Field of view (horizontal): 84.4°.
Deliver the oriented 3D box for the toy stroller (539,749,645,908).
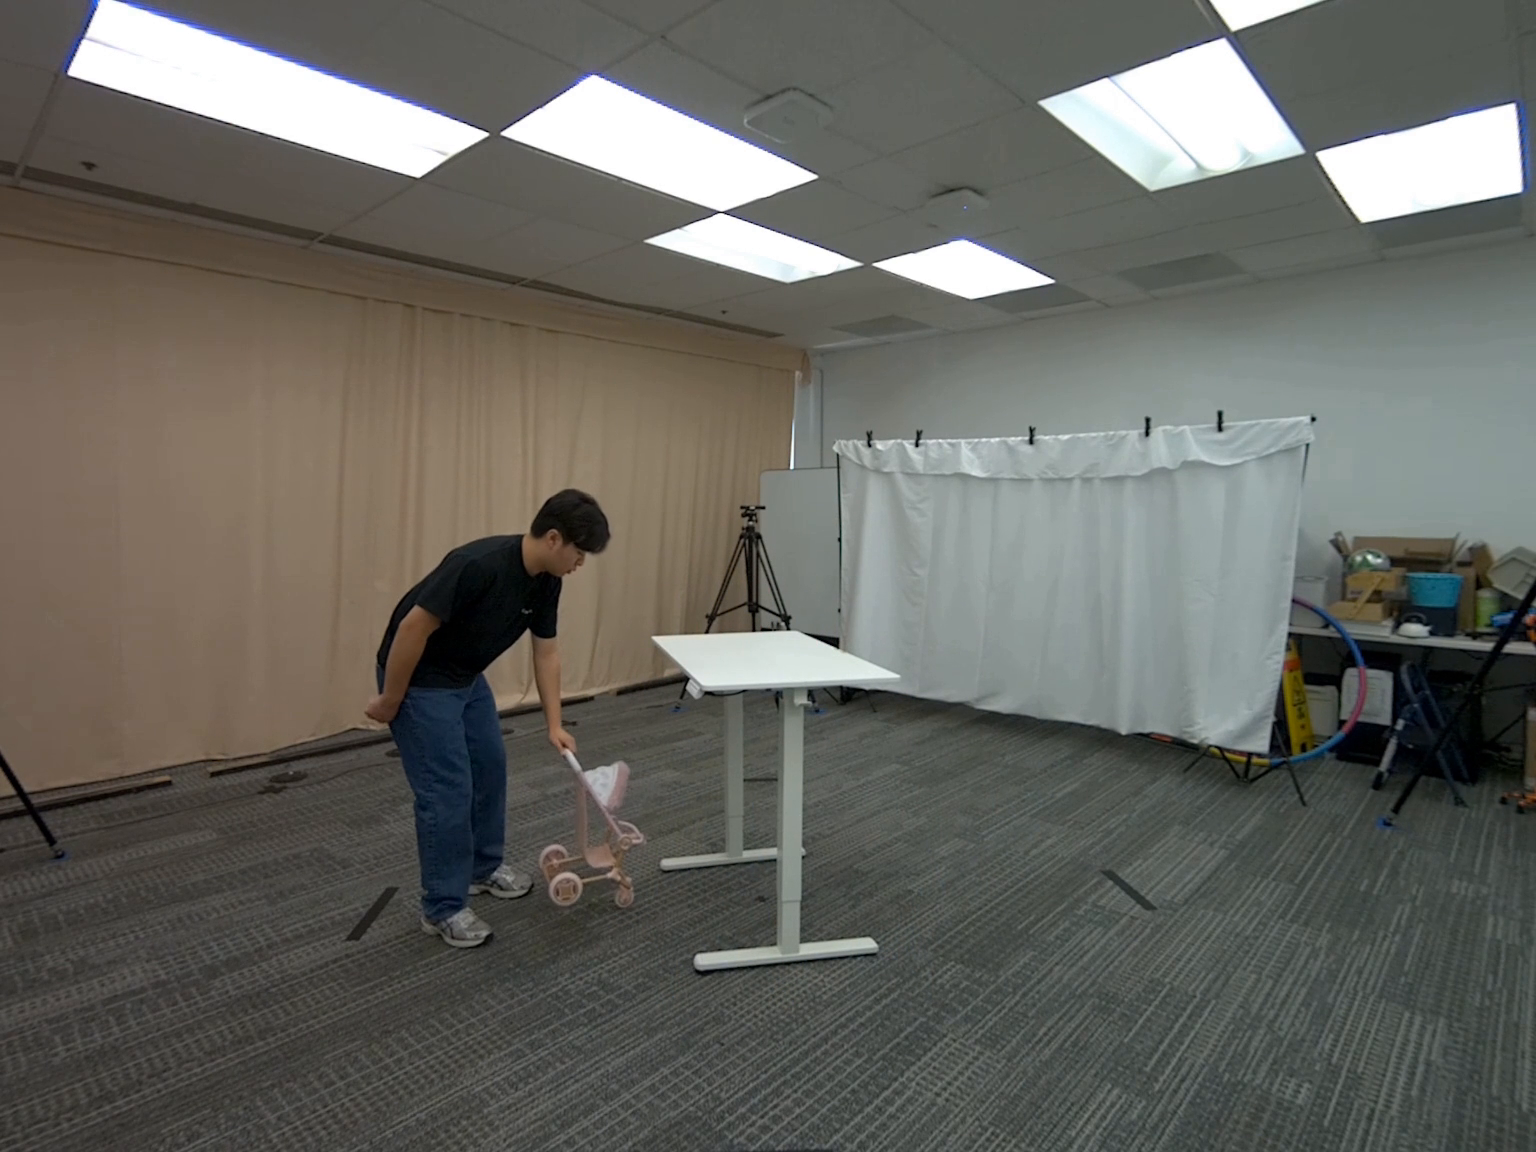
[{"bbox_3d":[-0.578,0.874,2.886,0.335,0.535,0.286,10,-3,-16],"label":"toy stroller"}]
